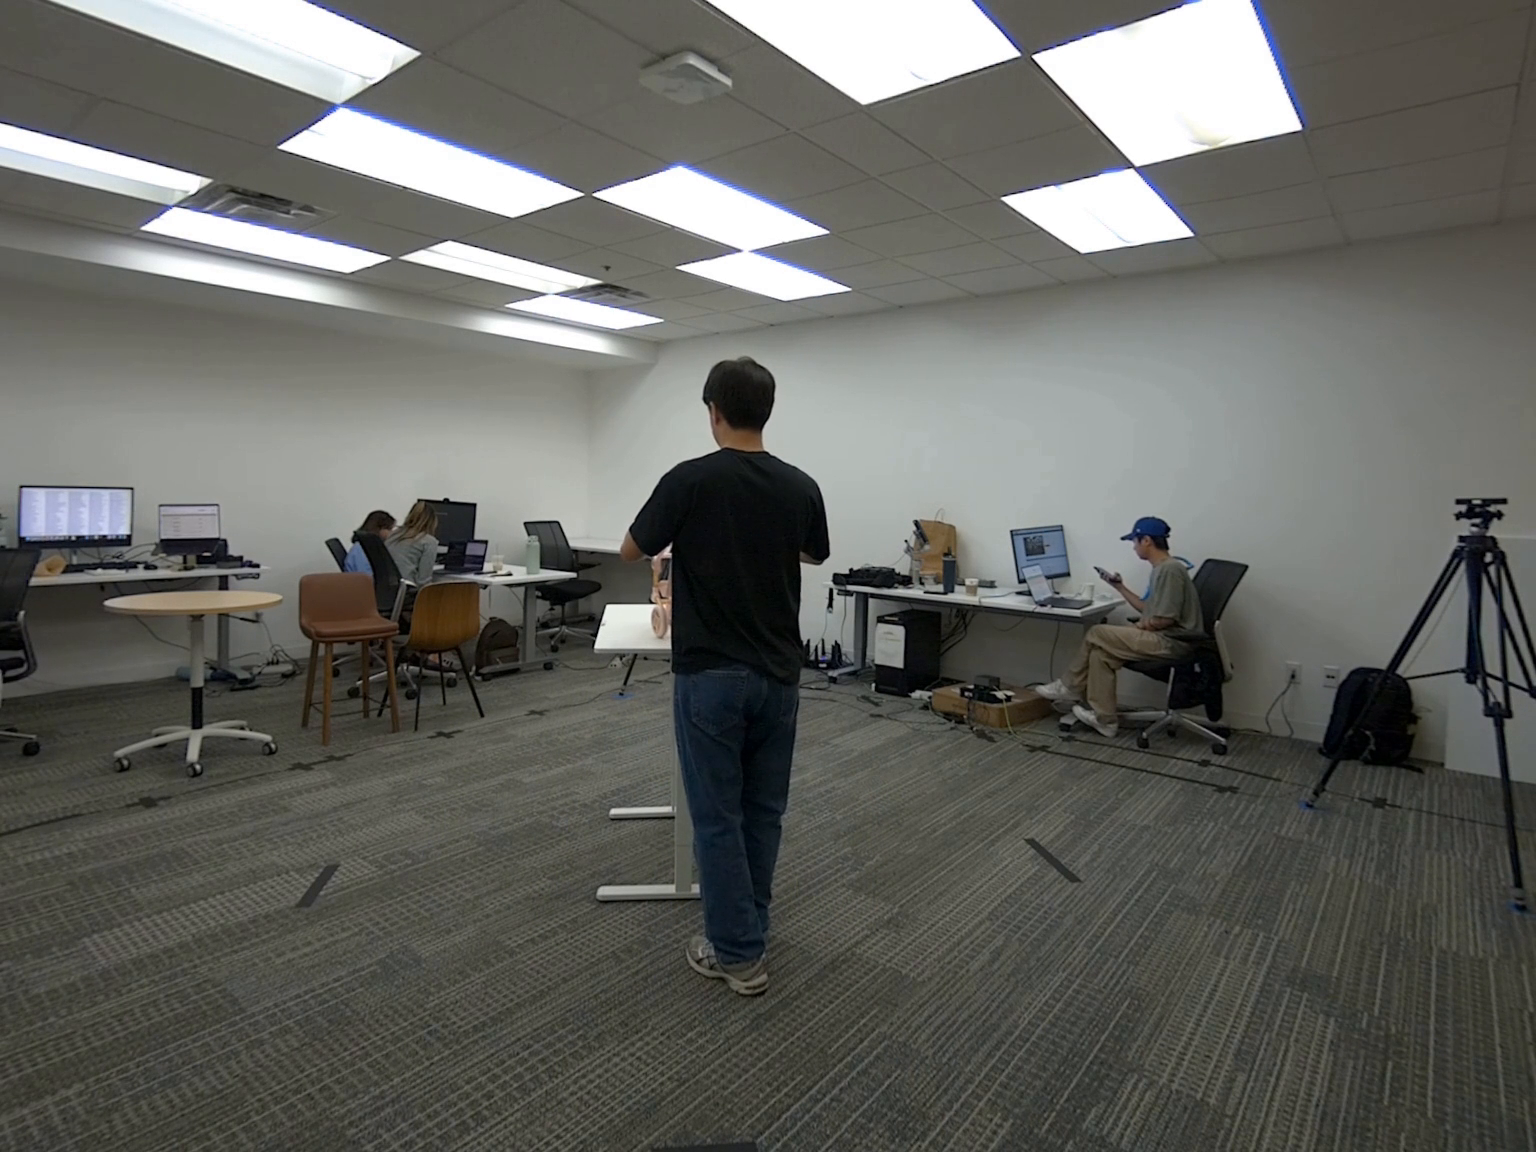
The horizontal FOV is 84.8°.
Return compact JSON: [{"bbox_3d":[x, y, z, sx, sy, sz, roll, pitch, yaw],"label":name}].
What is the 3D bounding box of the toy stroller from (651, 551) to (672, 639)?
[{"bbox_3d":[-0.286,-0.027,2.989,0.276,0.527,0.353,1,19,-20],"label":"toy stroller"}]
